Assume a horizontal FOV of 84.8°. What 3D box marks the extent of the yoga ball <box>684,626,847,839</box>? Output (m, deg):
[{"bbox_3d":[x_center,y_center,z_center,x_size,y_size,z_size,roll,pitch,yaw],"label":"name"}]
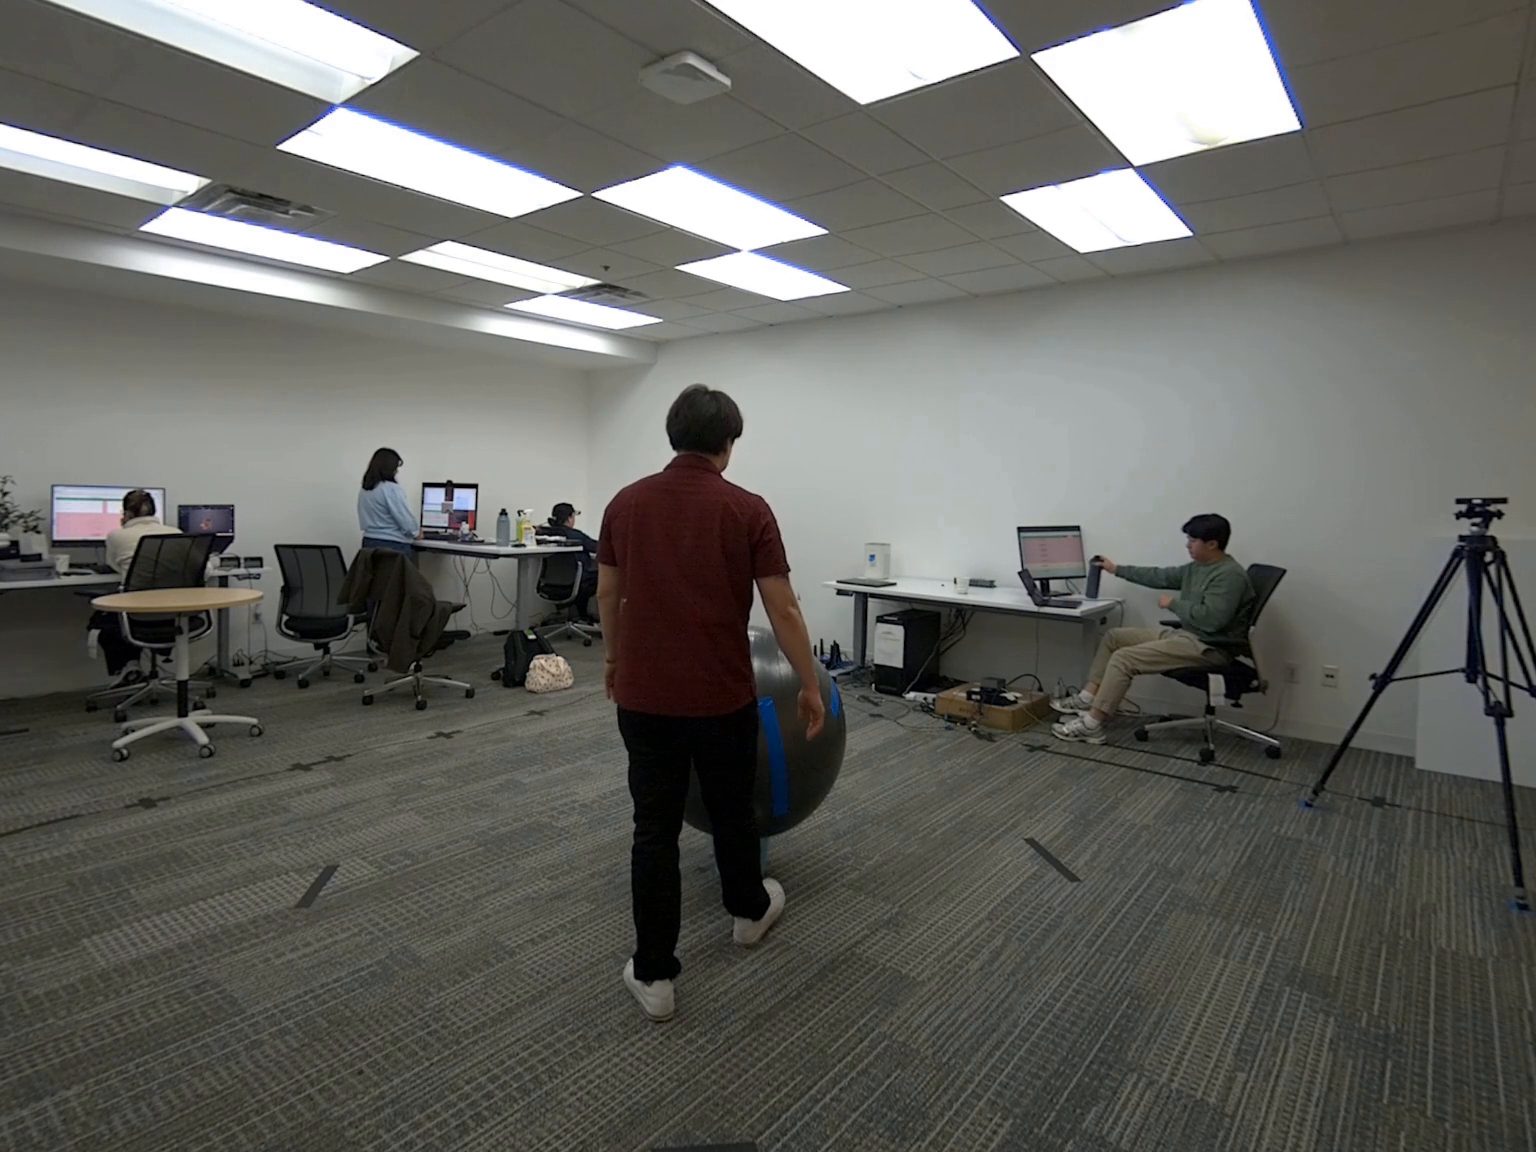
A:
[{"bbox_3d":[-0.106,0.557,3.099,0.757,0.756,0.762,1,4,-2],"label":"yoga ball"}]
